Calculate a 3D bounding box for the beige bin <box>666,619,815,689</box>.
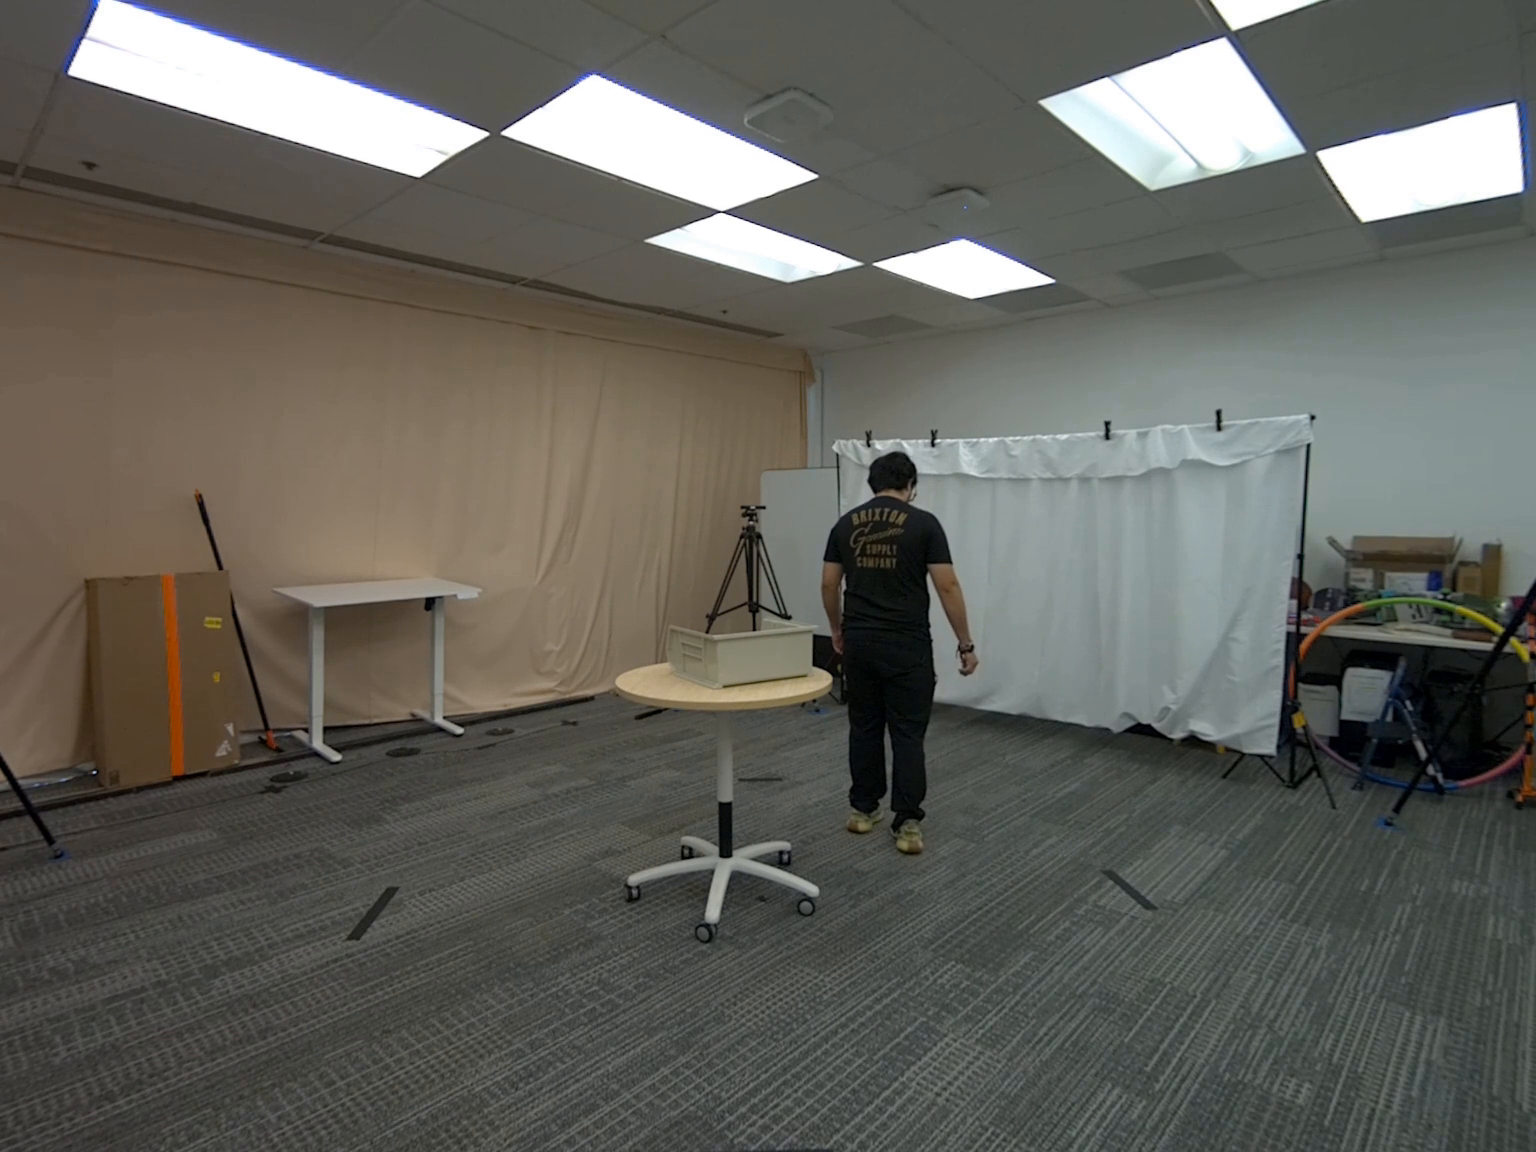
[{"bbox_3d":[-0.100,0.266,3.034,0.411,0.188,0.389,-2,5,-31],"label":"beige bin"}]
